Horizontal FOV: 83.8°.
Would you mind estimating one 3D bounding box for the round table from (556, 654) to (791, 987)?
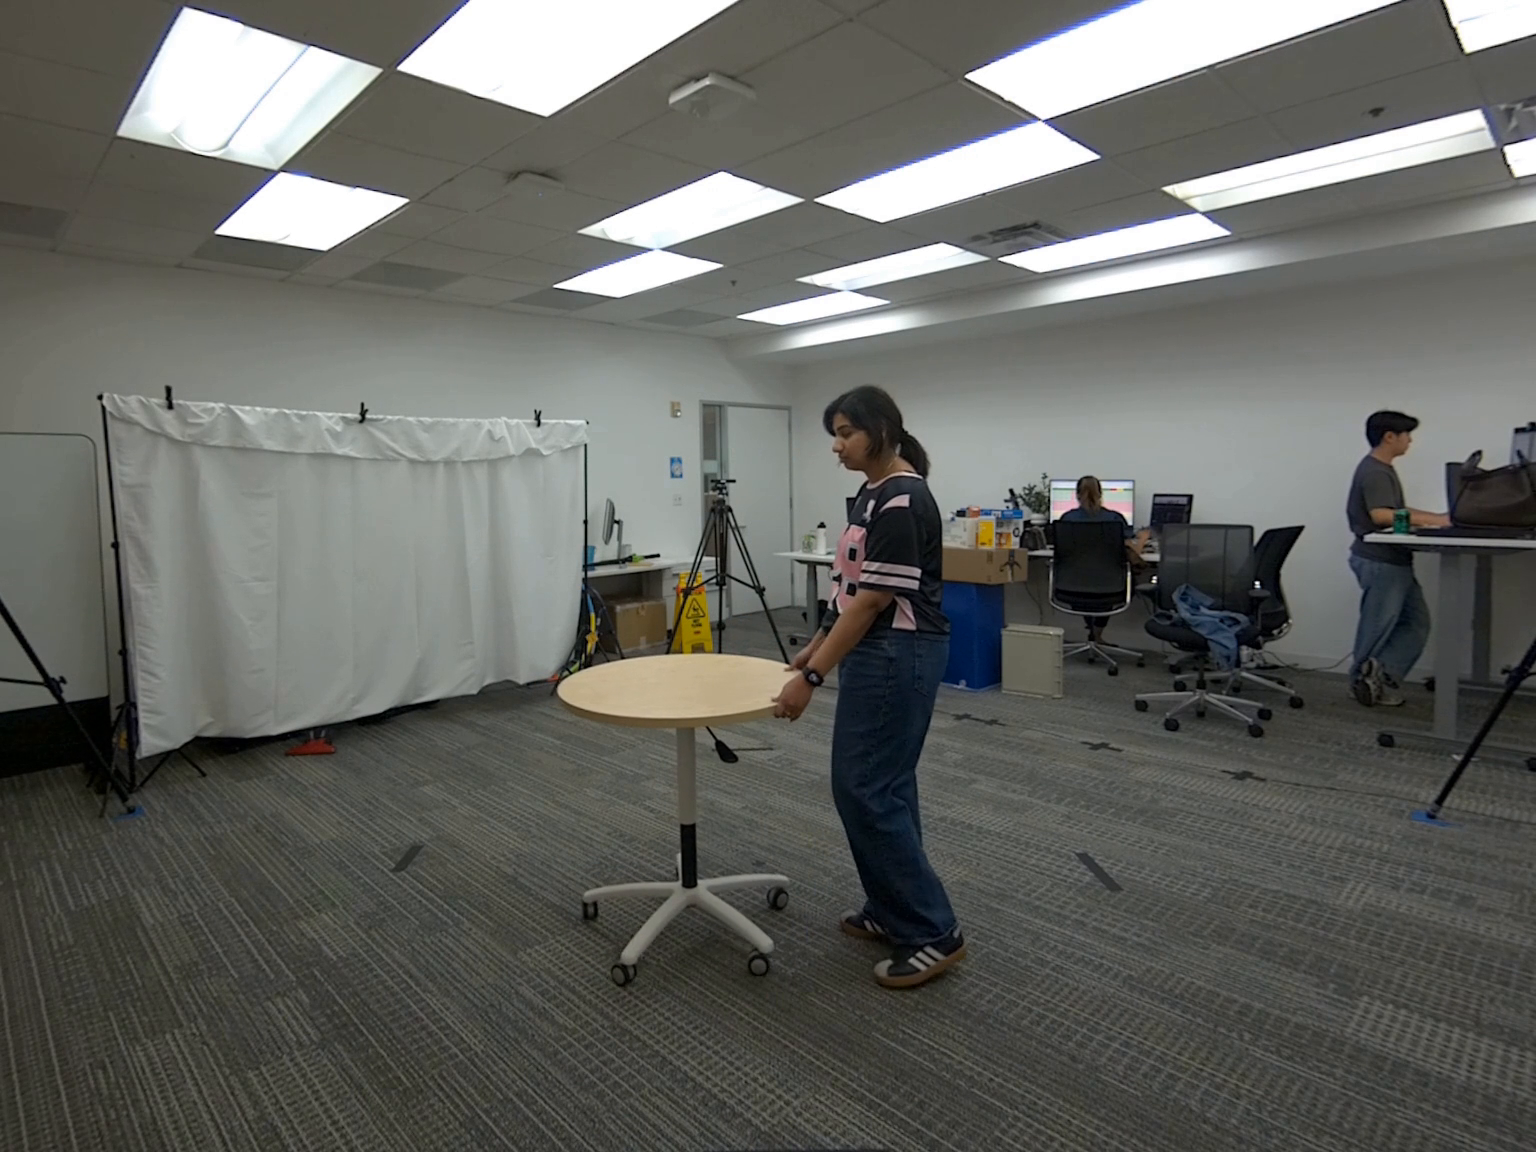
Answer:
[{"bbox_3d":[-0.245,0.717,2.648,0.763,0.790,0.769,-1,6,-2],"label":"round table"}]
